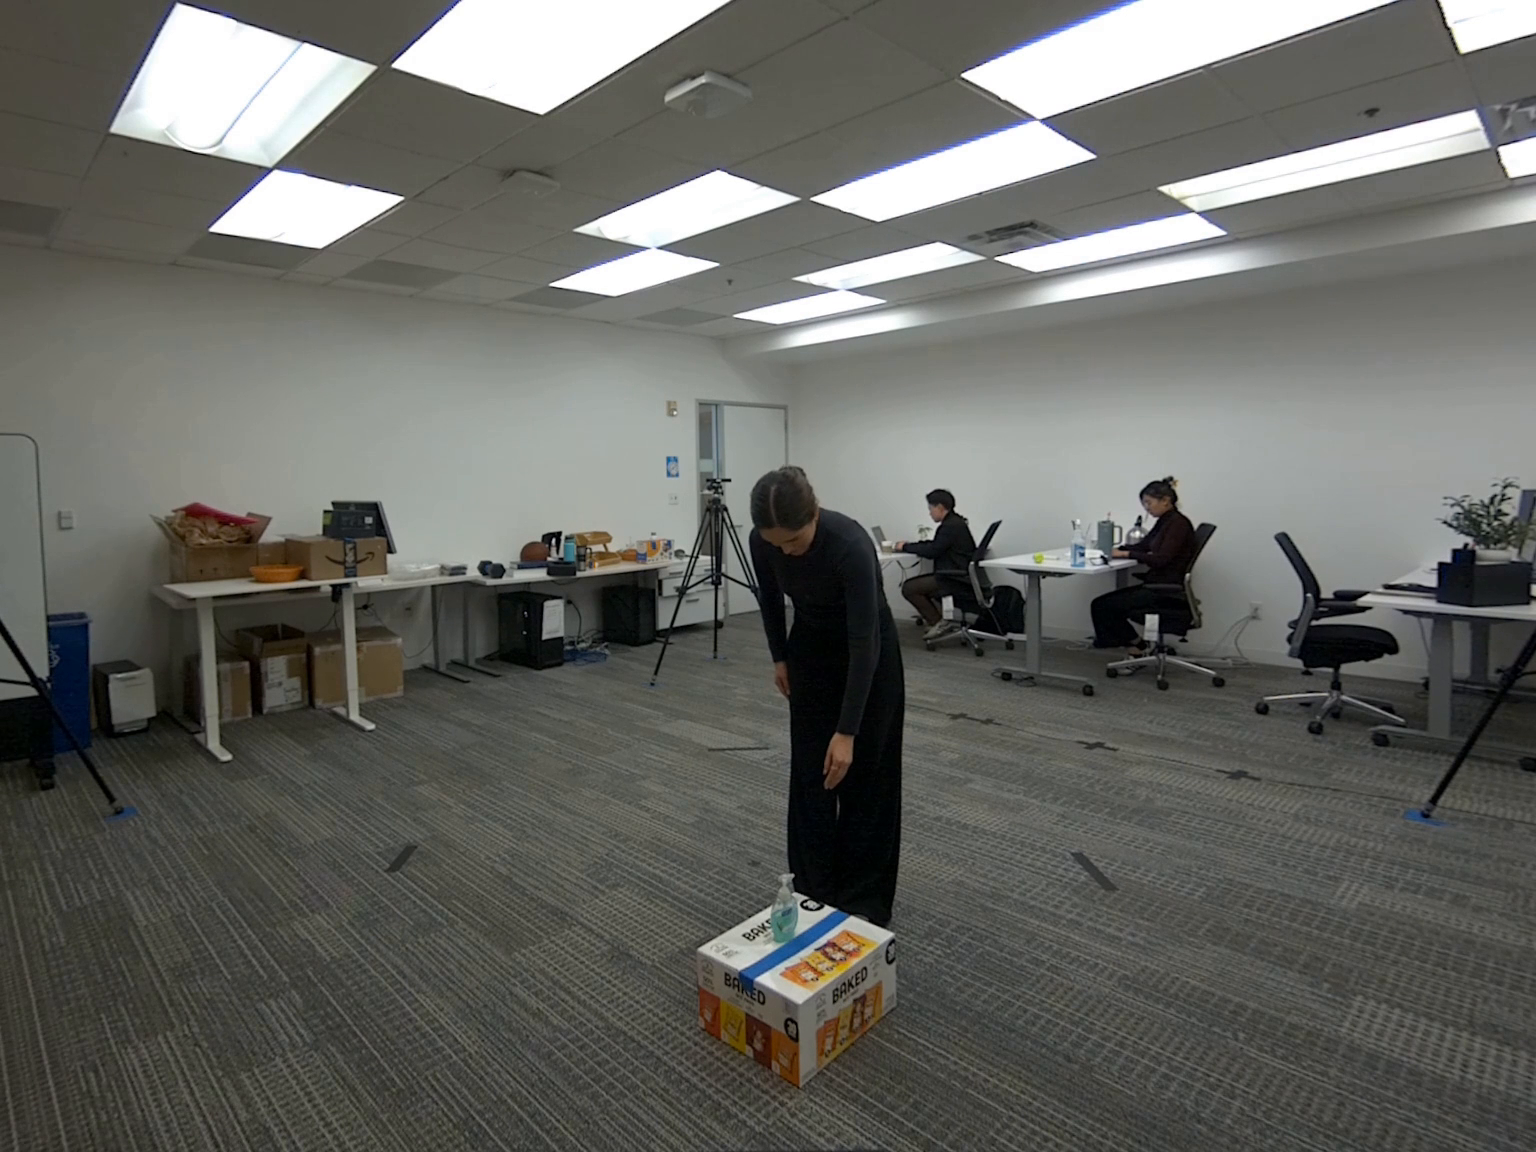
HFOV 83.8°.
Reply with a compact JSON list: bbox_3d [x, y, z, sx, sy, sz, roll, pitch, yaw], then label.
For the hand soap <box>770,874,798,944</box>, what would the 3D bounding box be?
[{"bbox_3d":[0.047,0.866,2.238,0.082,0.167,0.045,-8,12,-42],"label":"hand soap"}]
